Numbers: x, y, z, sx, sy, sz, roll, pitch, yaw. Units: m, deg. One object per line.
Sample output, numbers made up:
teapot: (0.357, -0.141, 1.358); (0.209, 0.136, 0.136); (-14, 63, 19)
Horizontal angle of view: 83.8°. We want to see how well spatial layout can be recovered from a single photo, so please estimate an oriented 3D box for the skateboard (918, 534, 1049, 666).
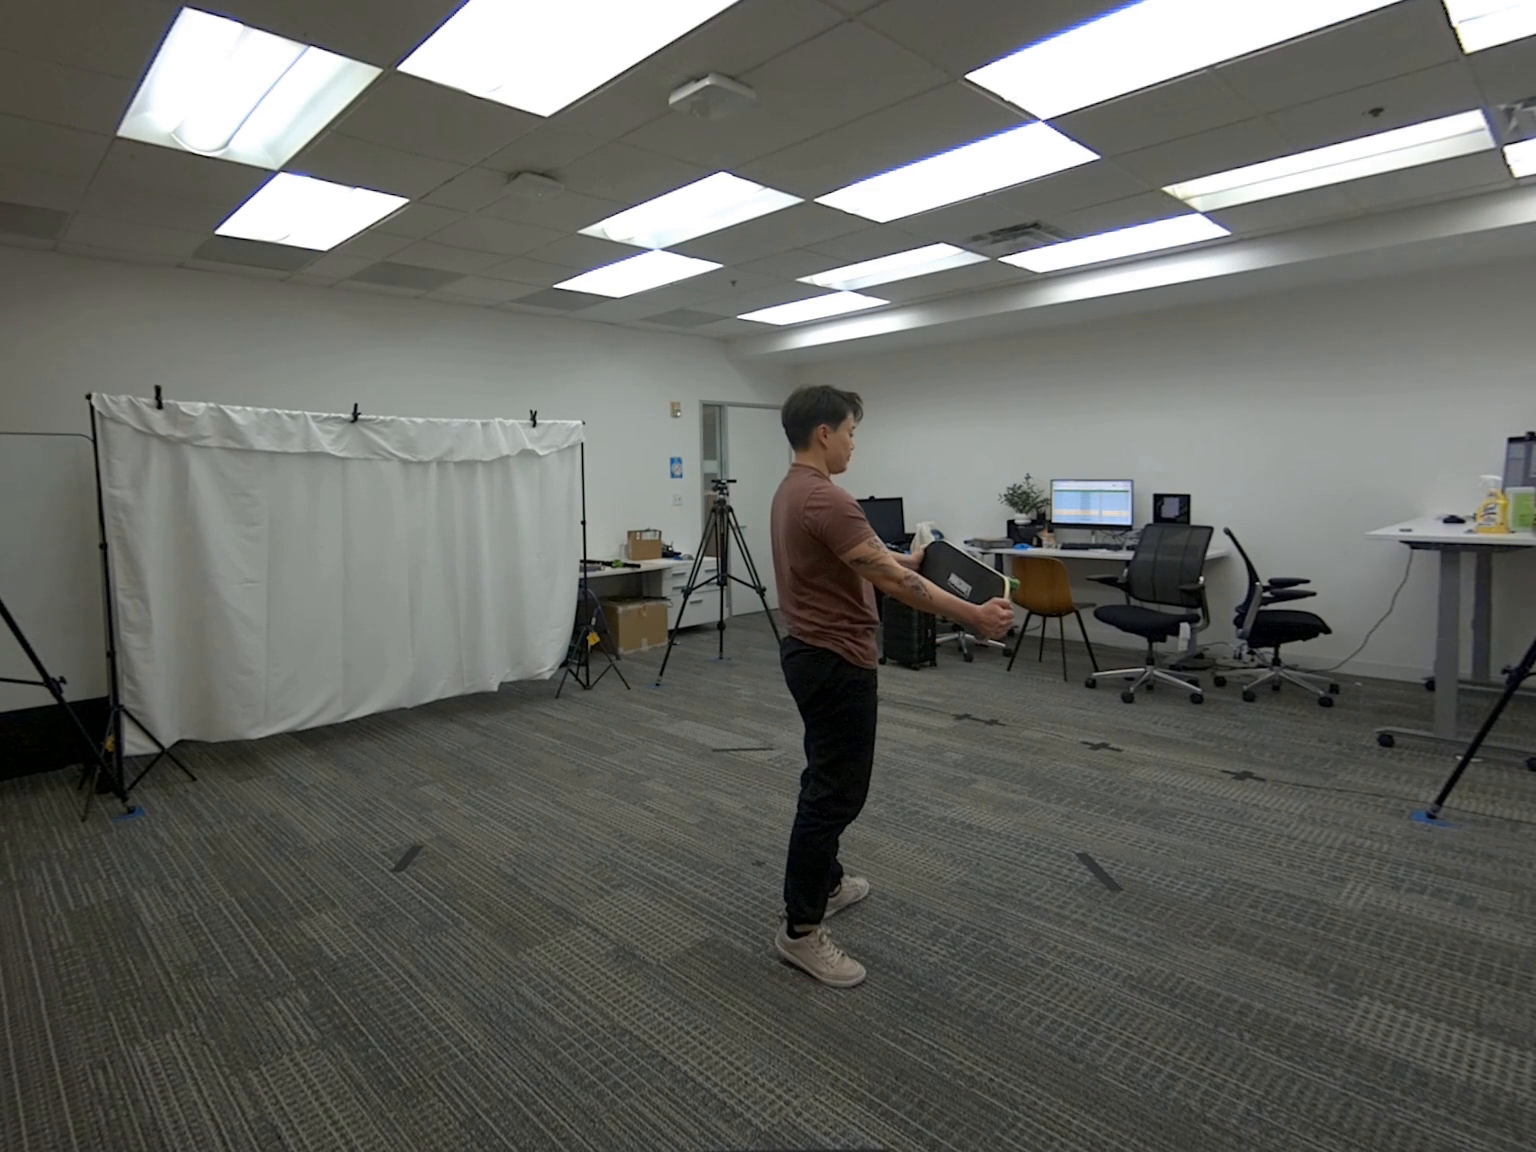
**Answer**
skateboard: (0.623, 0.045, 2.657); (0.109, 0.192, 0.796); (19, 10, -8)
